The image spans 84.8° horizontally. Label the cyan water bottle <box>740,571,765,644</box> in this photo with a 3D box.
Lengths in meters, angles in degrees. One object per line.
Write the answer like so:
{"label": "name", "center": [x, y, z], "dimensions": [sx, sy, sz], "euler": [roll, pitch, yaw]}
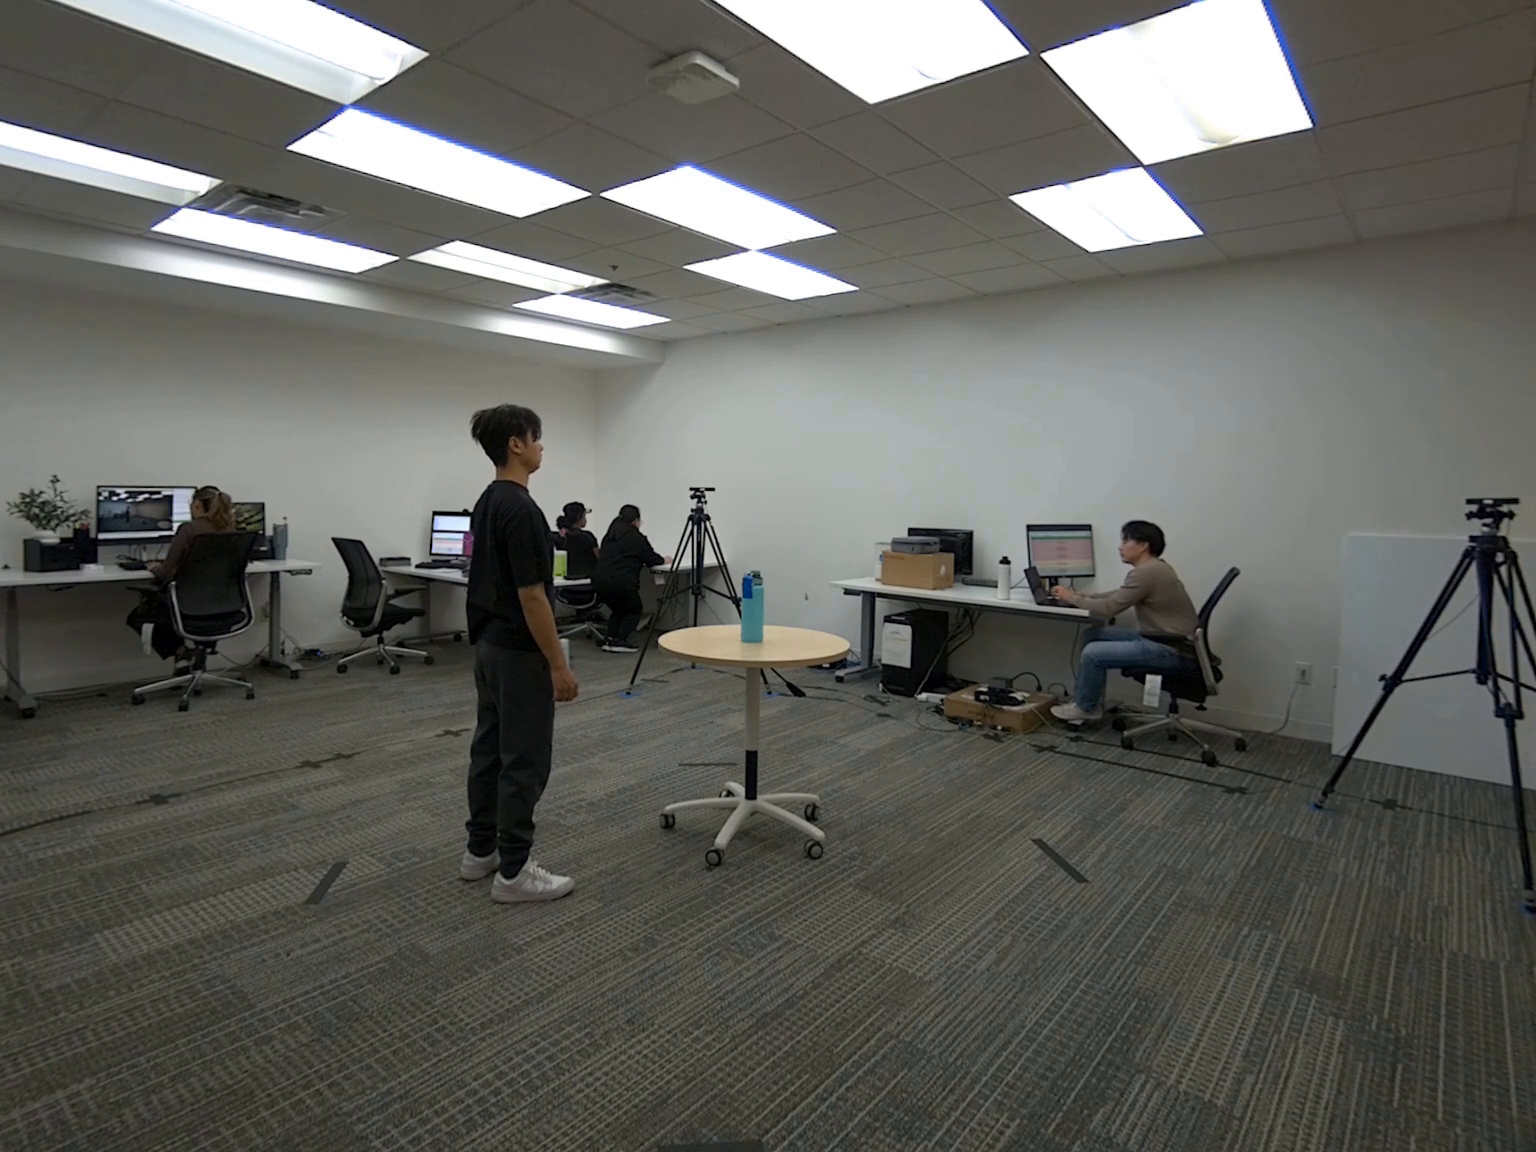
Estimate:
{"label": "cyan water bottle", "center": [-0.076, 0.121, 3.406], "dimensions": [0.092, 0.282, 0.093], "euler": [-1, 5, -2]}
